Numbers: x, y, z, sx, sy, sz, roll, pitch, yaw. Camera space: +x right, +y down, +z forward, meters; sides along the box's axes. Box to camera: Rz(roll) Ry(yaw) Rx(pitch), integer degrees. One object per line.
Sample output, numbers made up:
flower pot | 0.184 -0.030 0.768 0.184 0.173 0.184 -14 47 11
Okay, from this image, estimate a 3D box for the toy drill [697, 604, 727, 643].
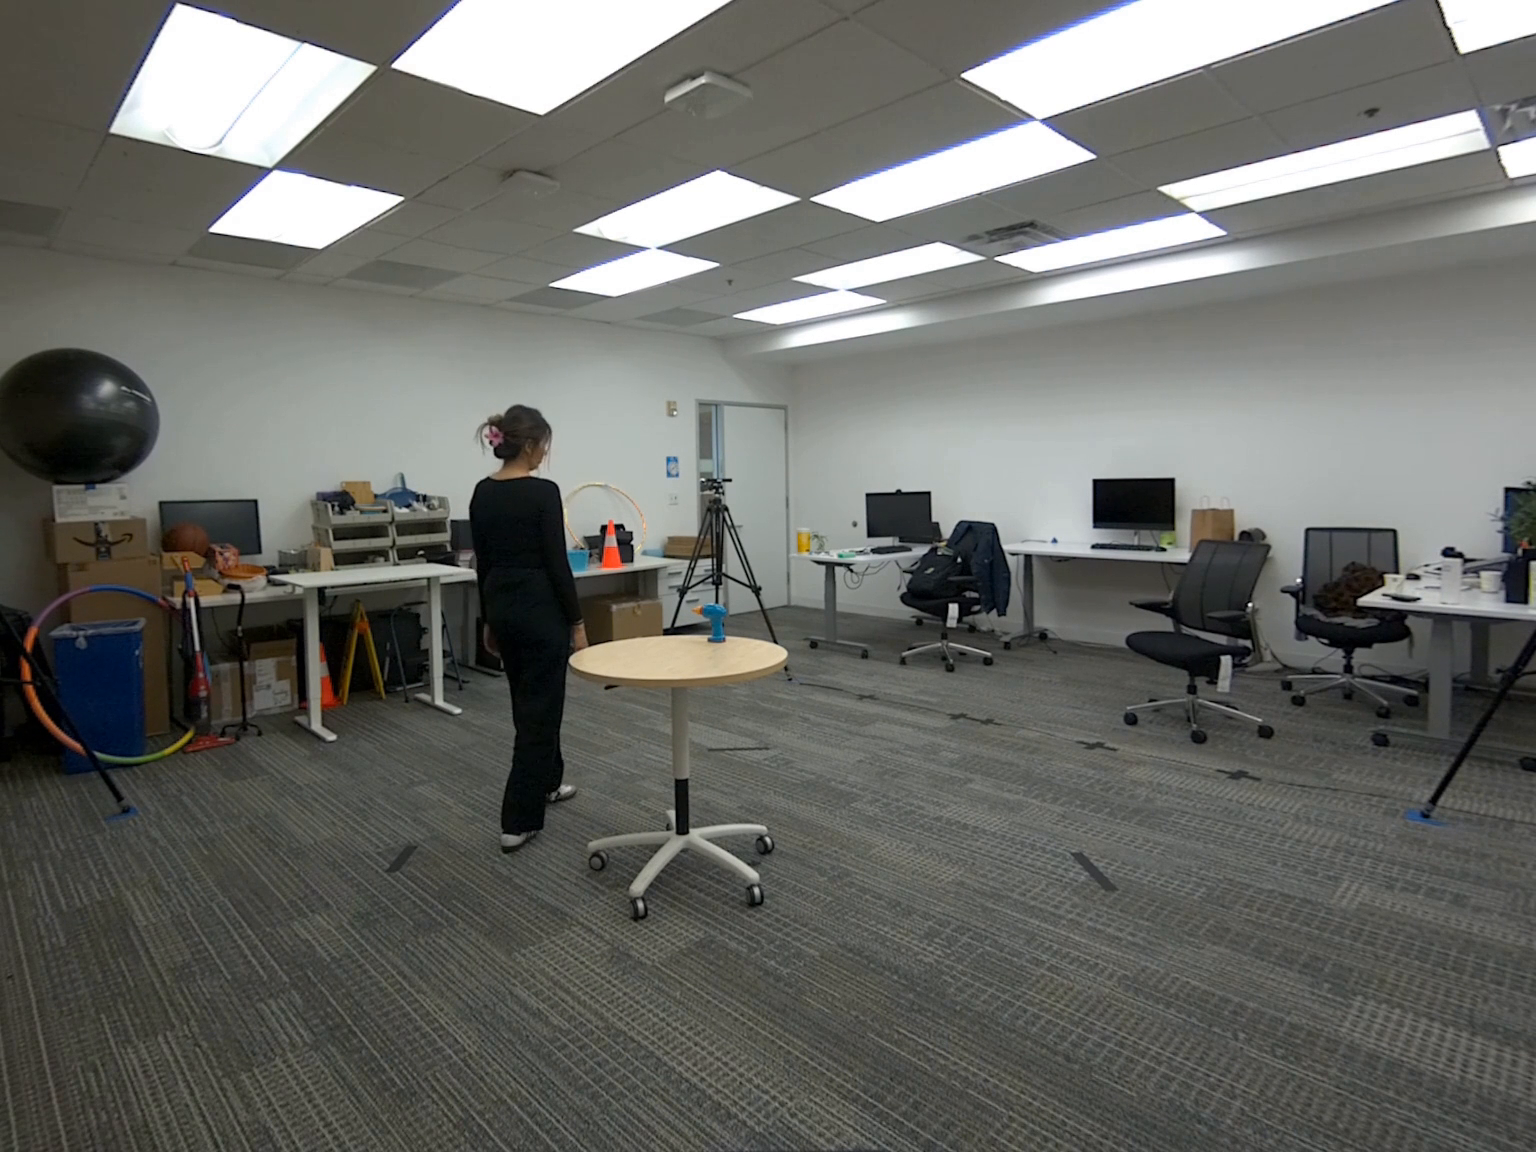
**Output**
toy drill | -0.223 0.175 3.264 0.174 0.146 0.059 0 3 37
